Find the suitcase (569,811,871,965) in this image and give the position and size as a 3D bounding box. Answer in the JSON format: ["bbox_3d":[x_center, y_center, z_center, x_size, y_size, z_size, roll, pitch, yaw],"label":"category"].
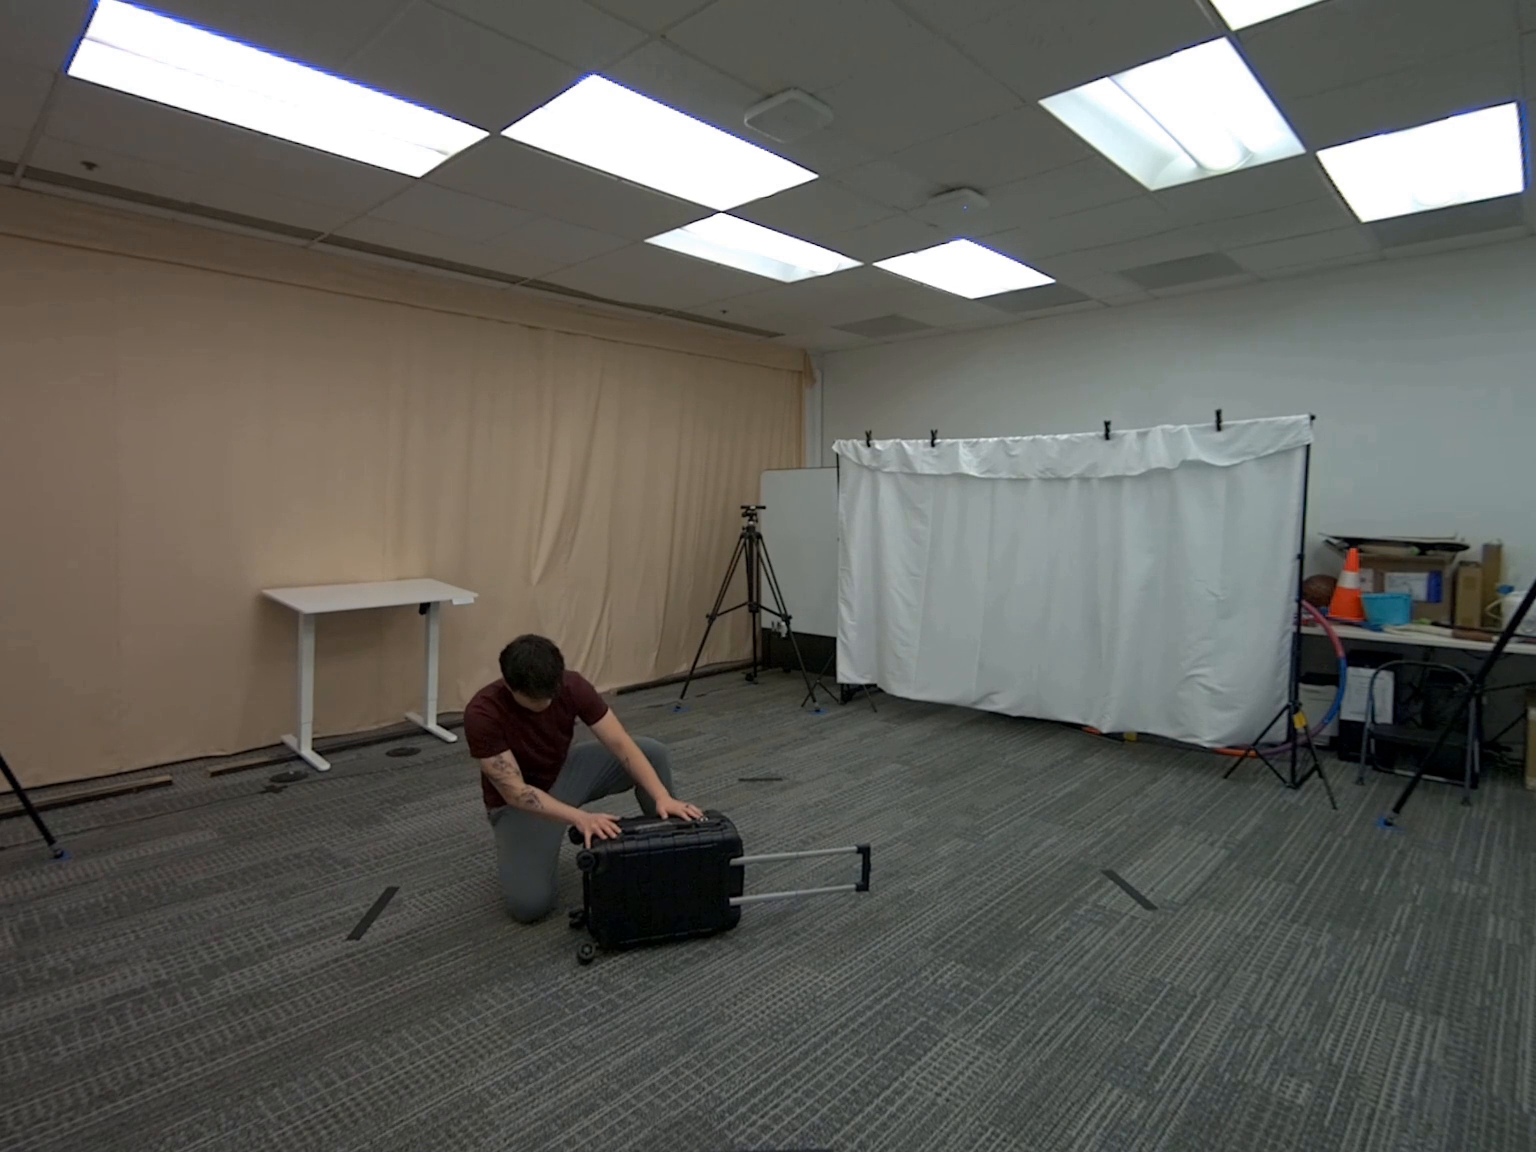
[{"bbox_3d":[-0.153,0.969,2.808,0.960,0.383,0.262,-2,3,-19],"label":"suitcase"}]
